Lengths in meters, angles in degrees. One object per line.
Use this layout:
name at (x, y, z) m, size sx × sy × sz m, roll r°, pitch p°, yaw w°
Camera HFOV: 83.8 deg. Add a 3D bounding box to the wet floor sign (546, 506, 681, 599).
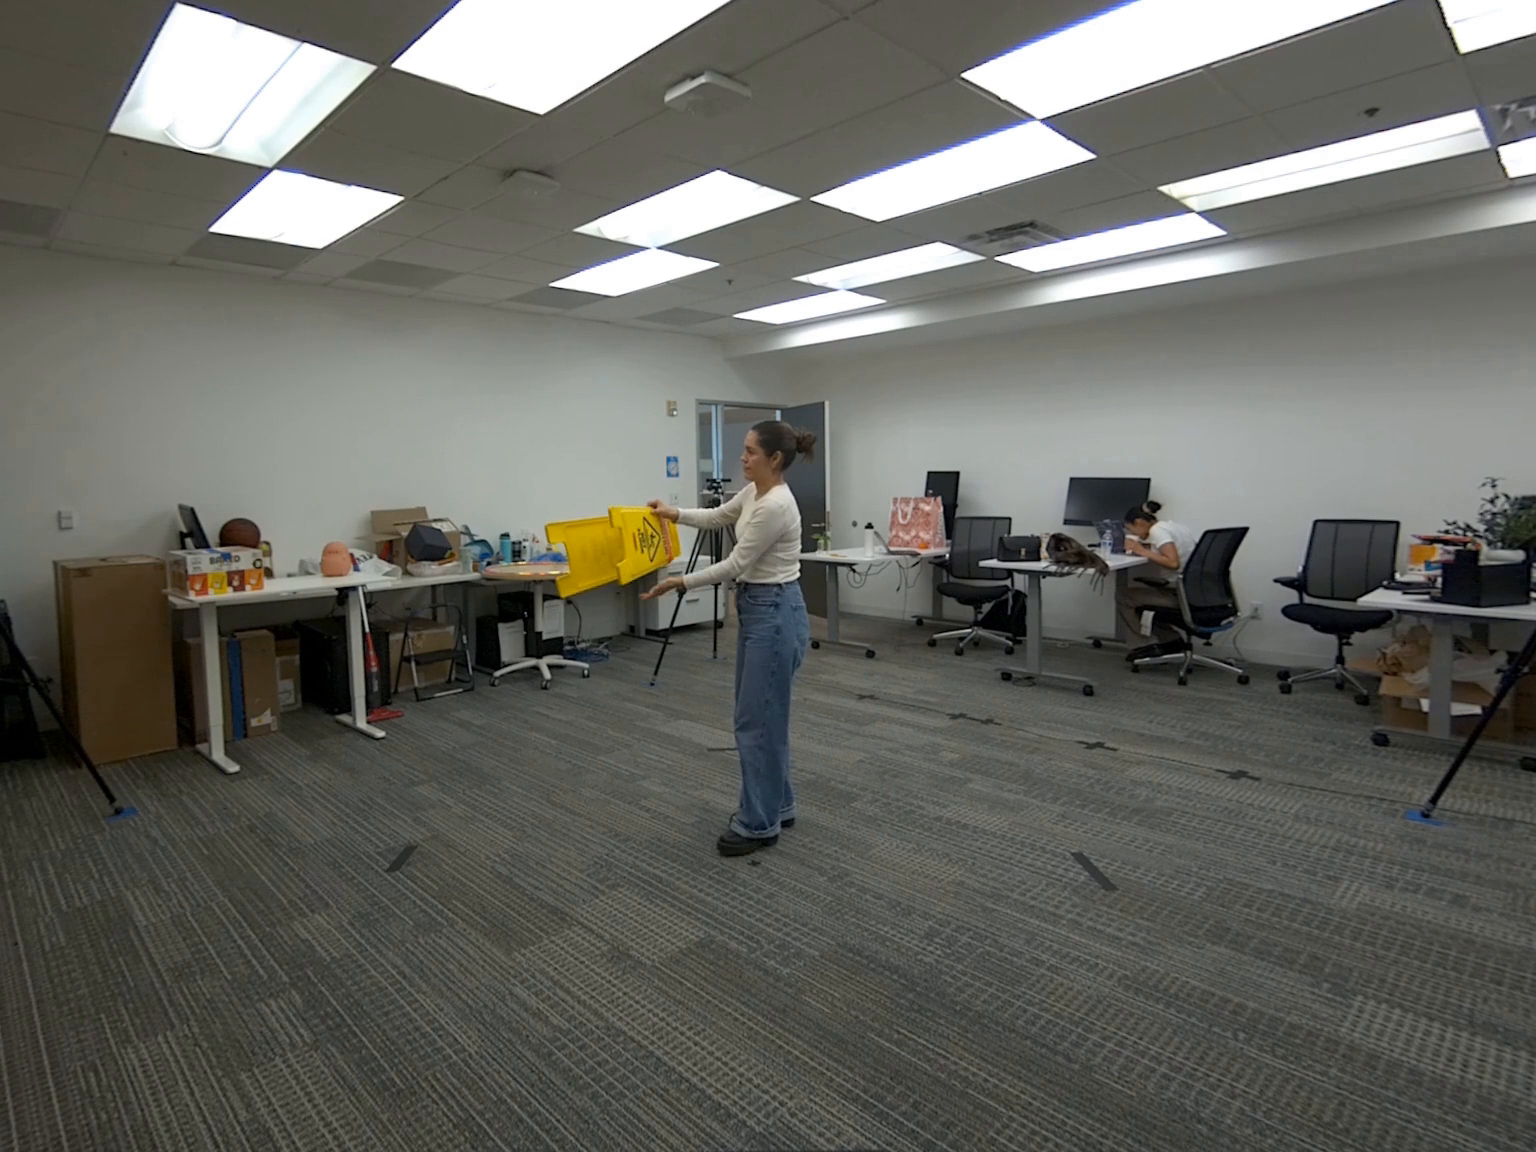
wet floor sign at (-0.527, -0.129, 3.325) m, size 0.295 × 0.281 × 0.636 m, roll -11°, pitch 4°, yaw 25°
